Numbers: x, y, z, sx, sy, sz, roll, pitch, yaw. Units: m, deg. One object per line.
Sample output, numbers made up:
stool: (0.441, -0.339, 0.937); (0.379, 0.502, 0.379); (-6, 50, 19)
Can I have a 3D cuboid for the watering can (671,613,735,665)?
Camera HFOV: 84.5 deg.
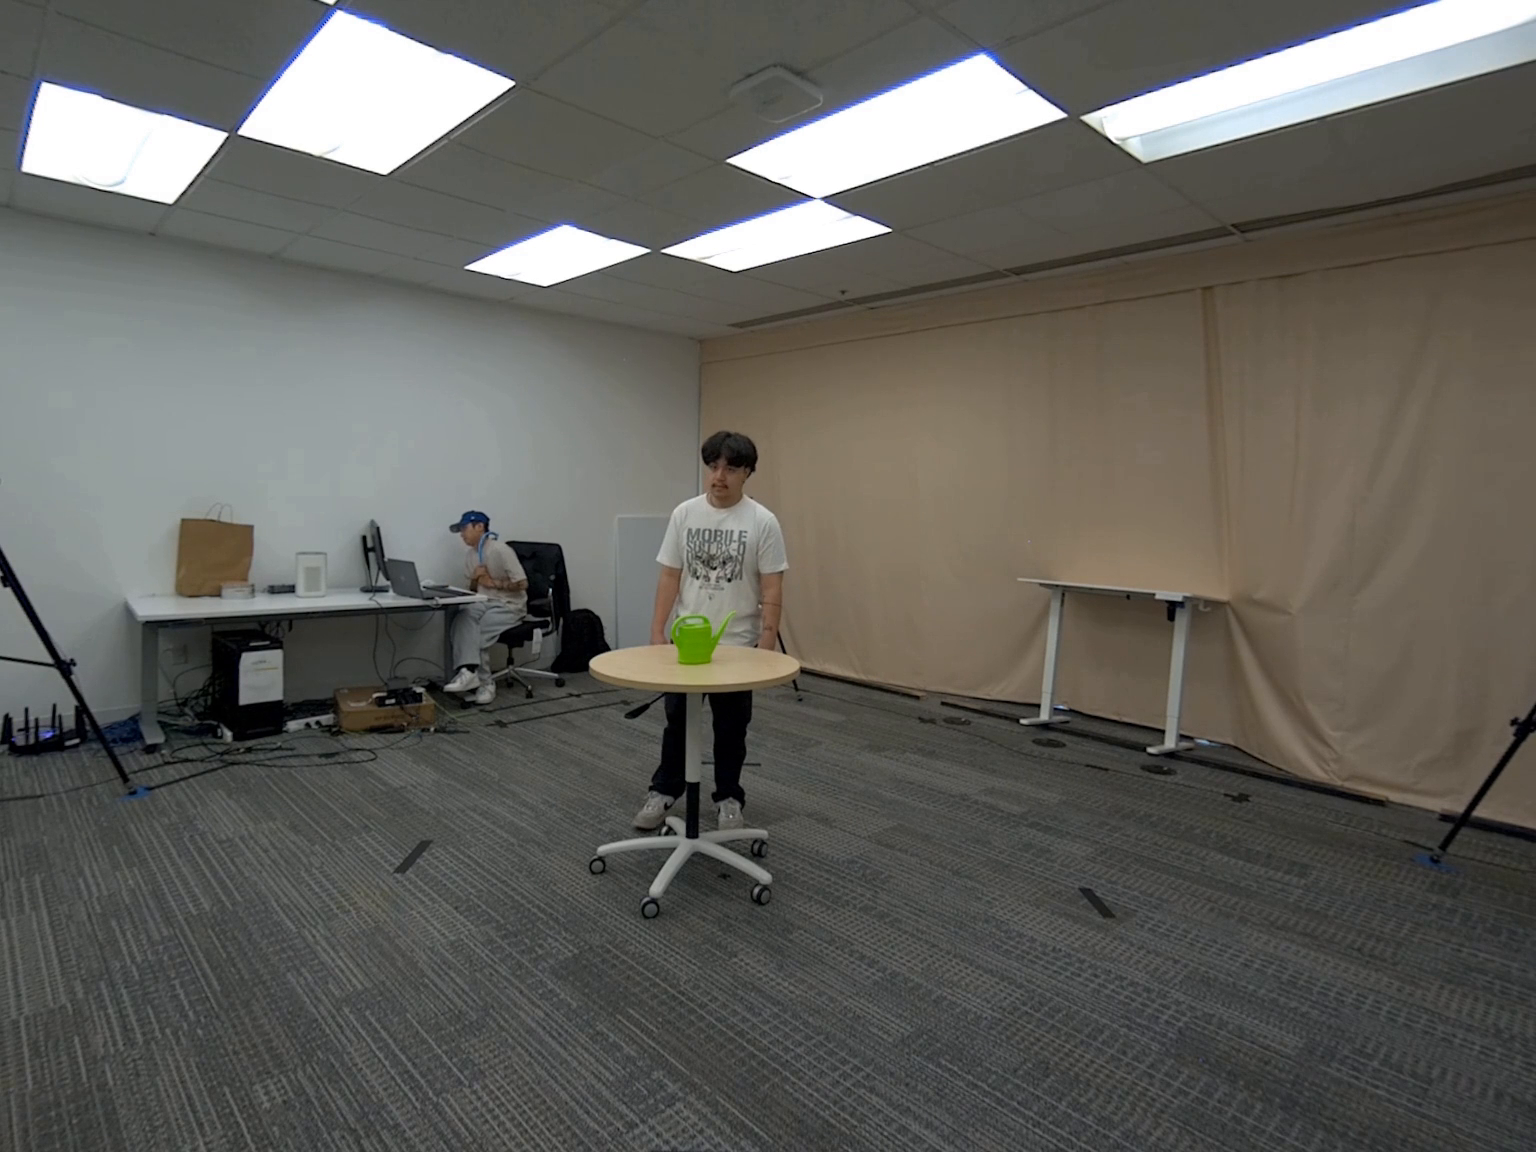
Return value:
watering can: (-0.246, 0.227, 3.084); (0.274, 0.176, 0.100); (-1, 6, -20)
